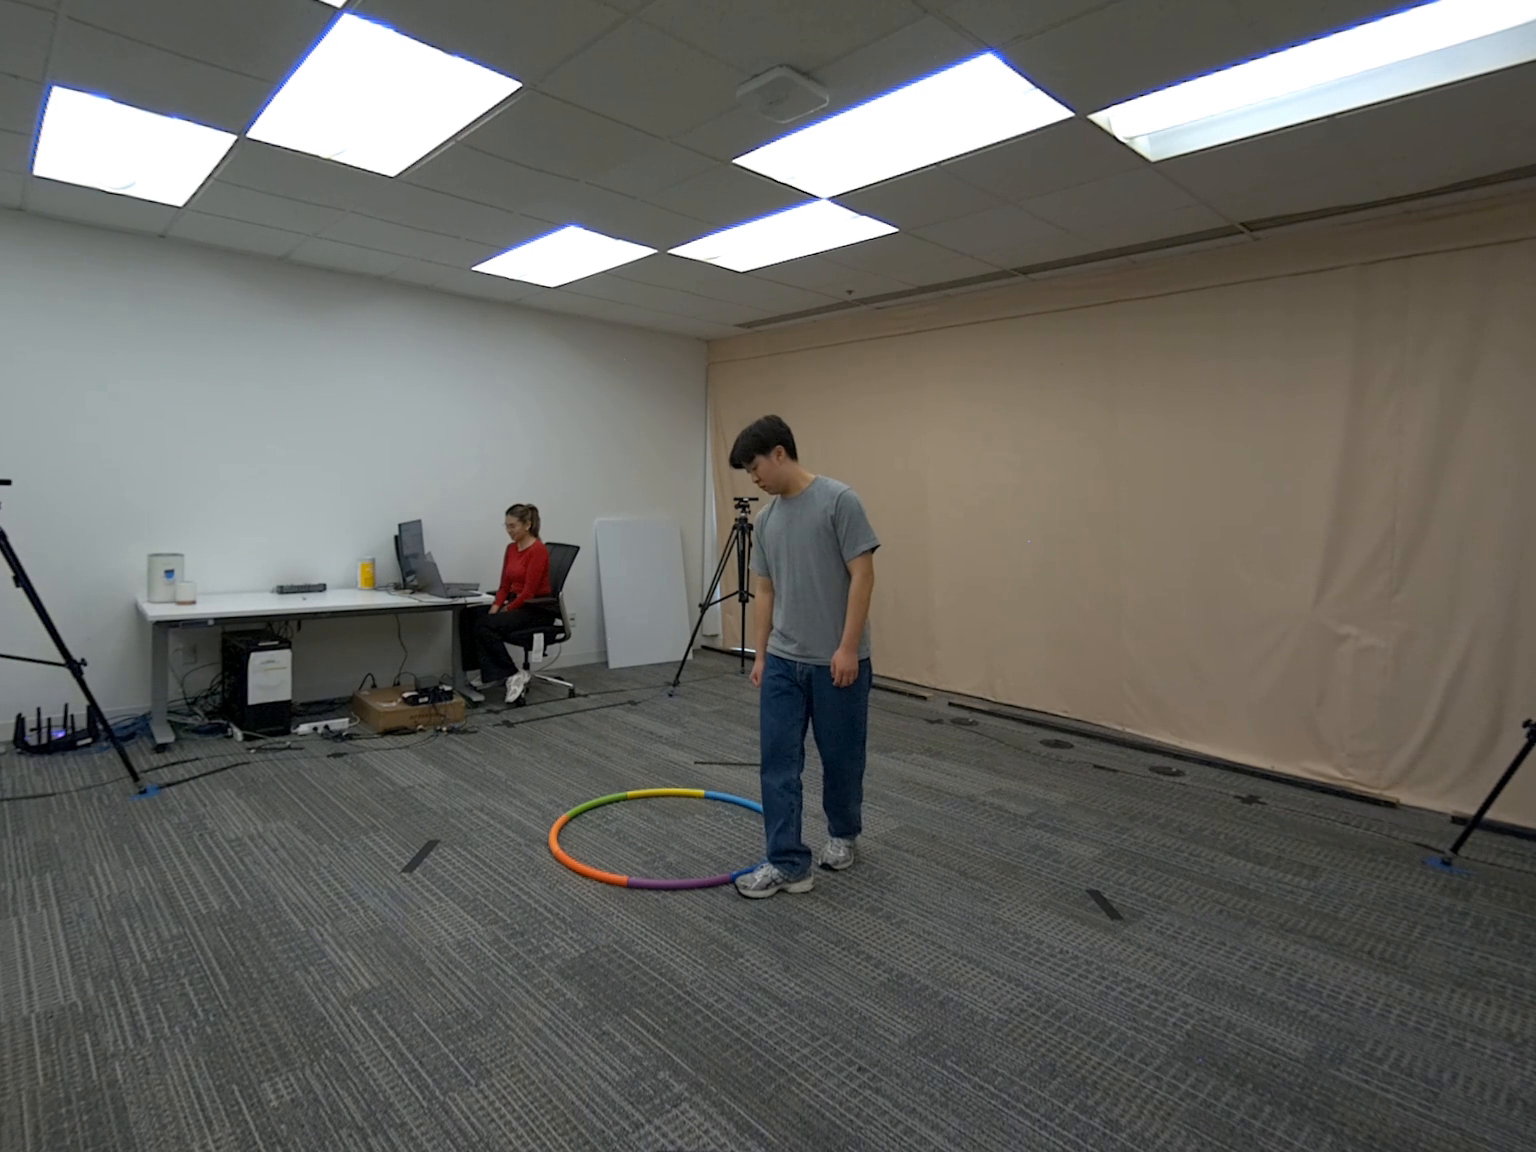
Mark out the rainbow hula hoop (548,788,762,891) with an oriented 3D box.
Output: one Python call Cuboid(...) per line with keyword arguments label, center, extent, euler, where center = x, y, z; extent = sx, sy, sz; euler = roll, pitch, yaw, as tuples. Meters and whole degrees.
Cuboid(label="rainbow hula hoop", center=(-0.408, 1.036, 3.464), extent=(0.978, 0.035, 0.982), euler=(1, 5, -1))
